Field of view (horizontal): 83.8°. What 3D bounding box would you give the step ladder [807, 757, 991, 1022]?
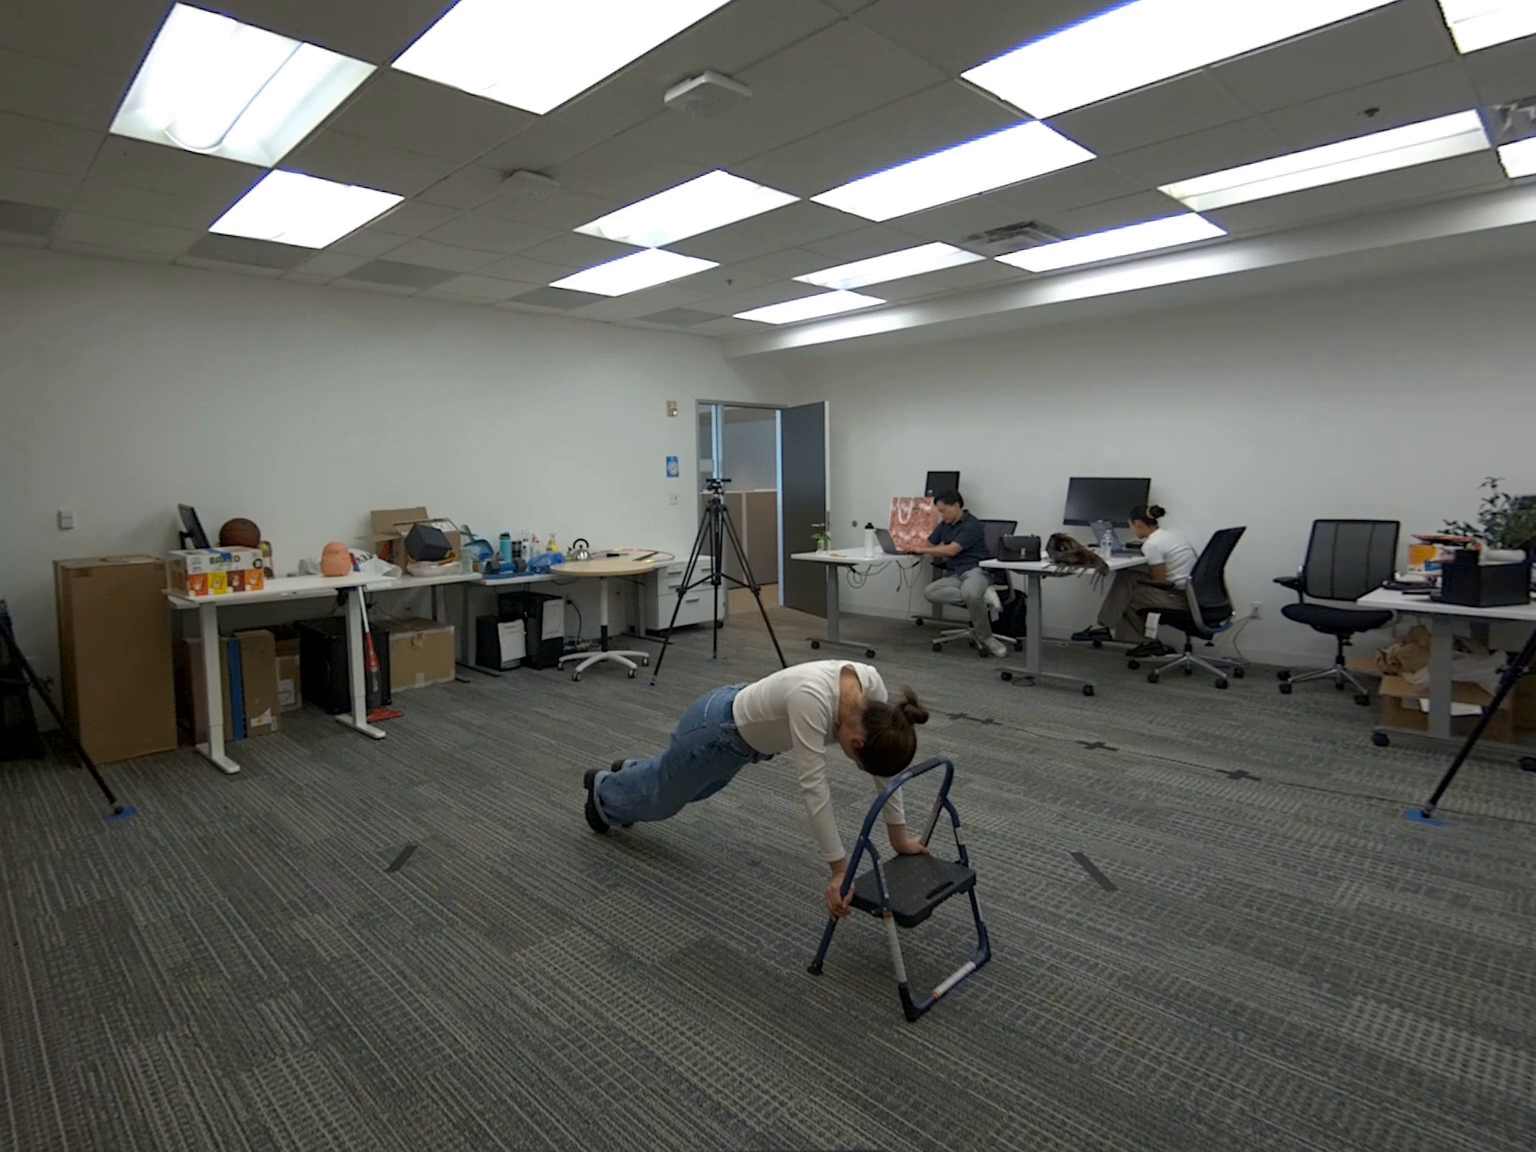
[{"bbox_3d":[0.383,0.817,2.424,0.360,0.604,0.419,3,6,43],"label":"step ladder"}]
